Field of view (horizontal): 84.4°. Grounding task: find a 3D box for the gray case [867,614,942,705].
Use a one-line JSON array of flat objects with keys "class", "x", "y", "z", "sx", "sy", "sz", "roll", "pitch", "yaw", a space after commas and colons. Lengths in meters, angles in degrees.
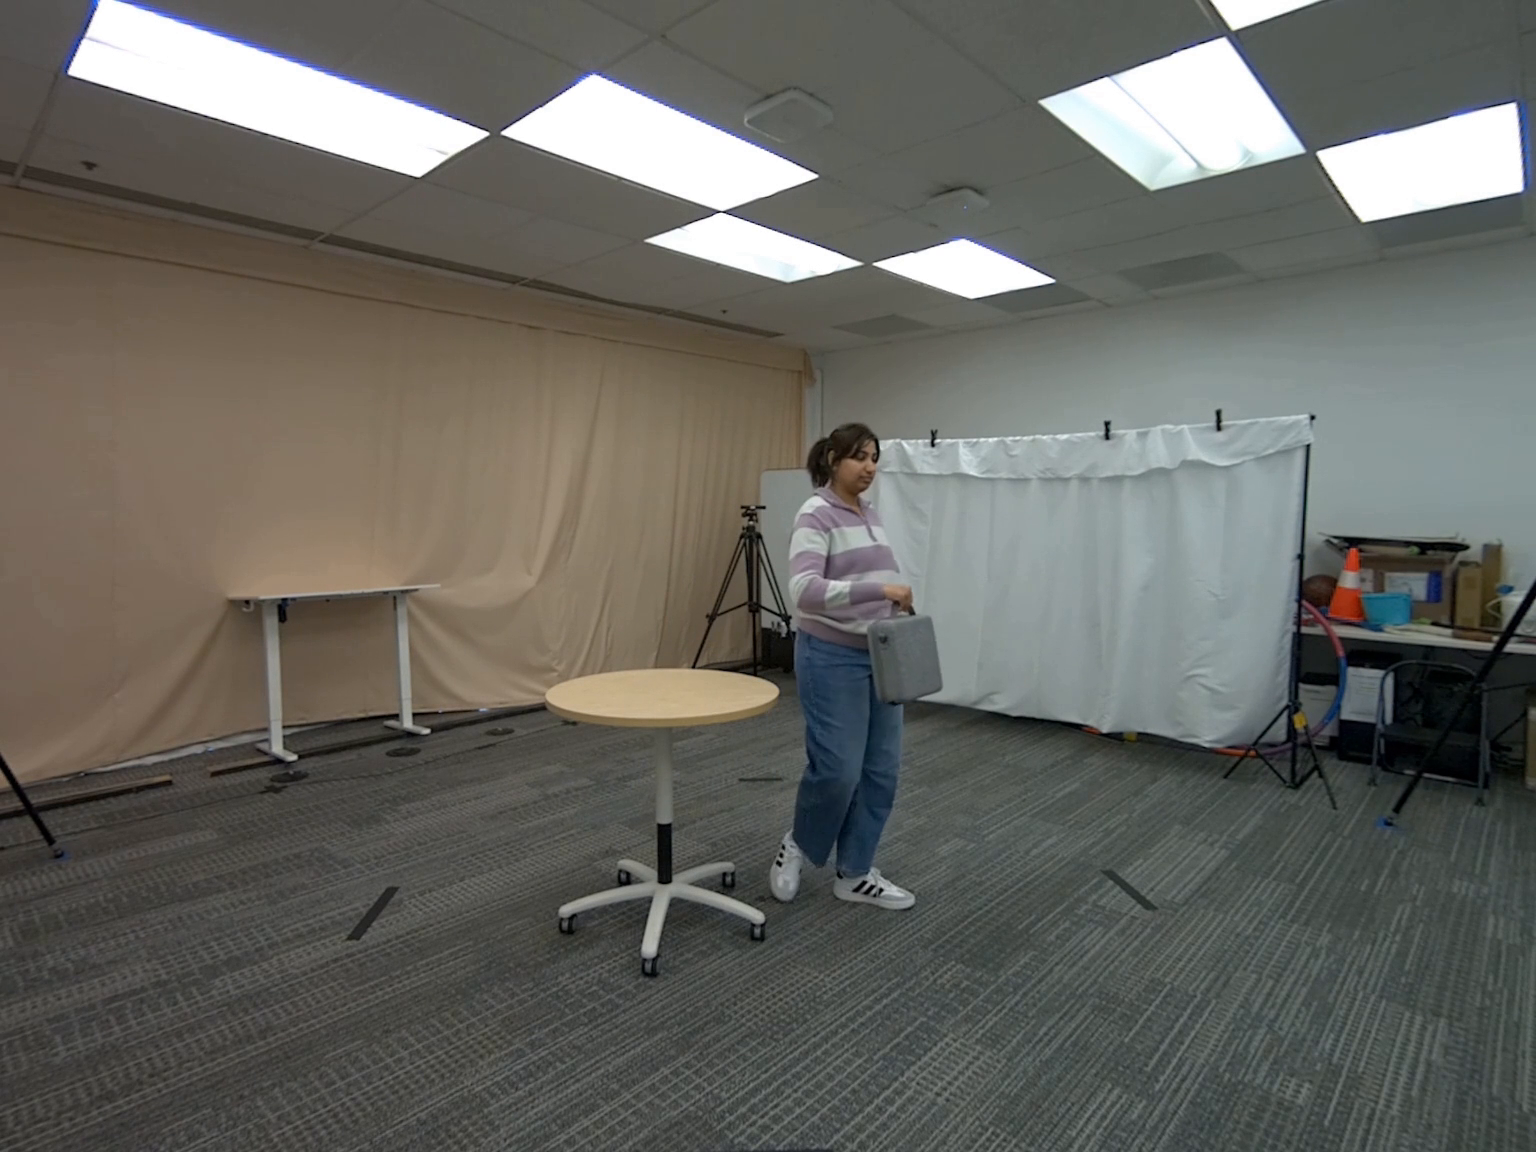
[{"class": "gray case", "x": 0.424, "y": 0.247, "z": 2.597, "sx": 0.107, "sy": 0.261, "sz": 0.249, "roll": -11, "pitch": -4, "yaw": 42}]
